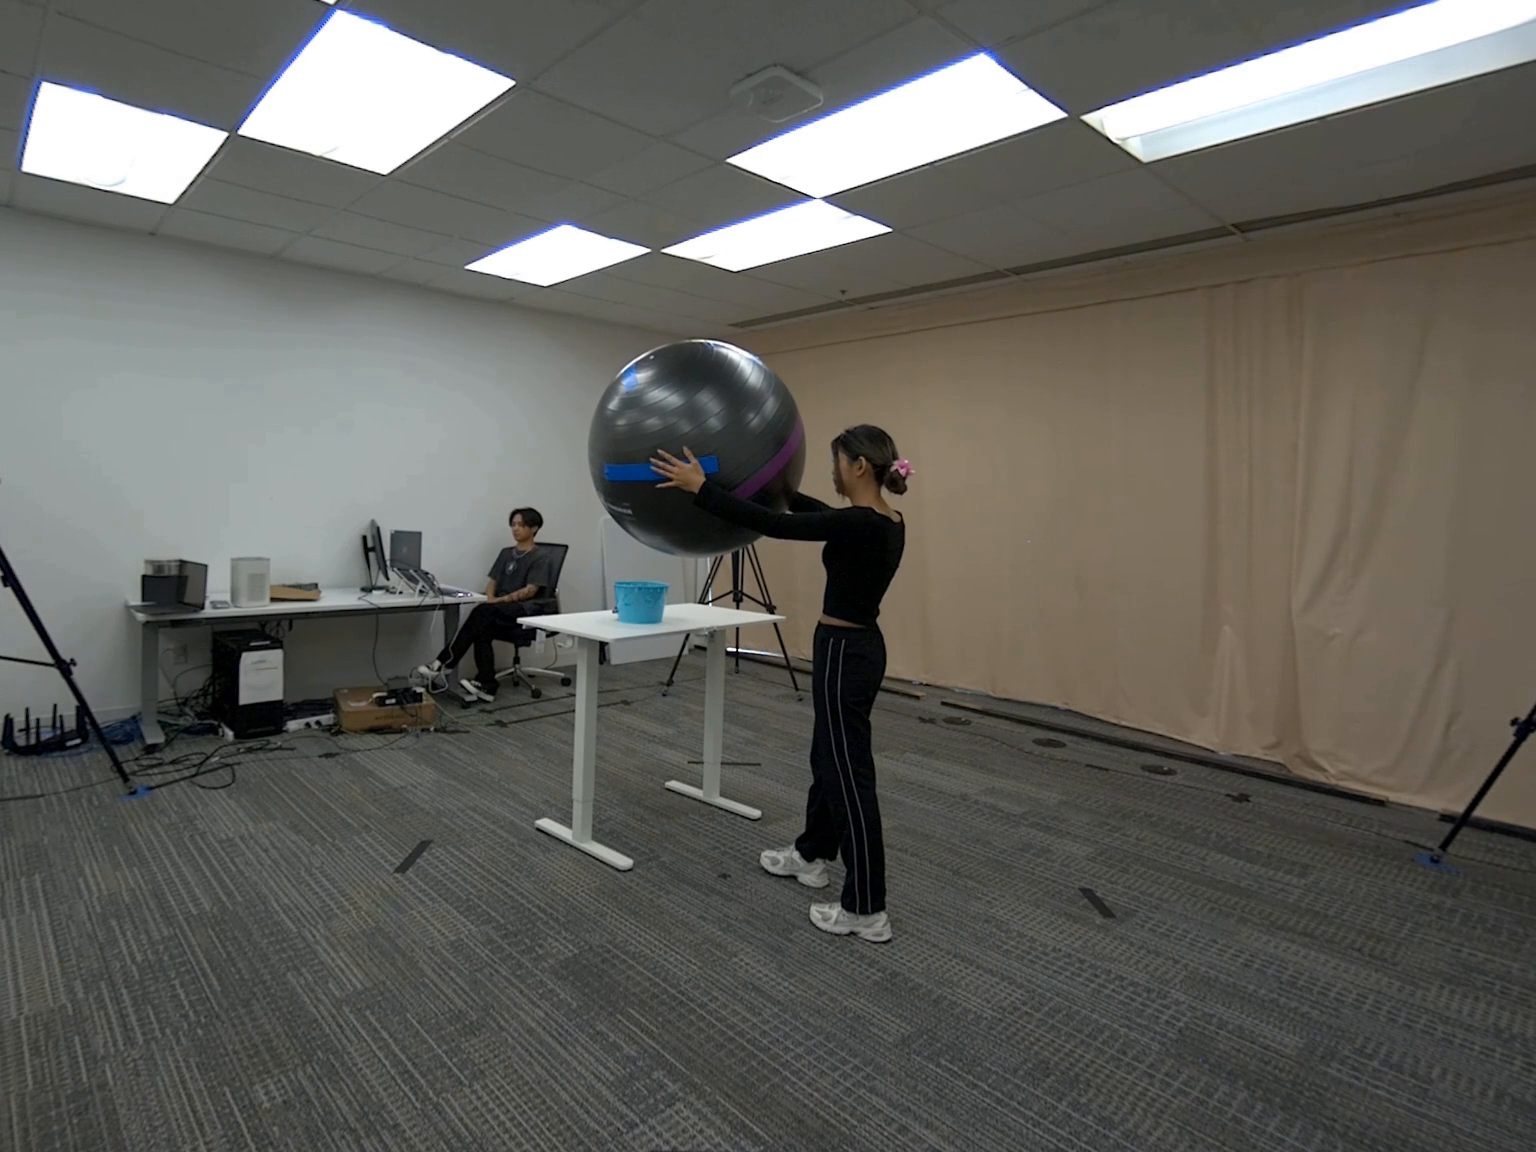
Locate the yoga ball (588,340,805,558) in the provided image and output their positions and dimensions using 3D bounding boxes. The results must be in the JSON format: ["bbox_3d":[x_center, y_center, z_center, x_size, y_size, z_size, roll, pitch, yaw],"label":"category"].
[{"bbox_3d":[-0.253,-0.433,2.956,0.757,0.756,0.760,1,4,-1],"label":"yoga ball"}]
